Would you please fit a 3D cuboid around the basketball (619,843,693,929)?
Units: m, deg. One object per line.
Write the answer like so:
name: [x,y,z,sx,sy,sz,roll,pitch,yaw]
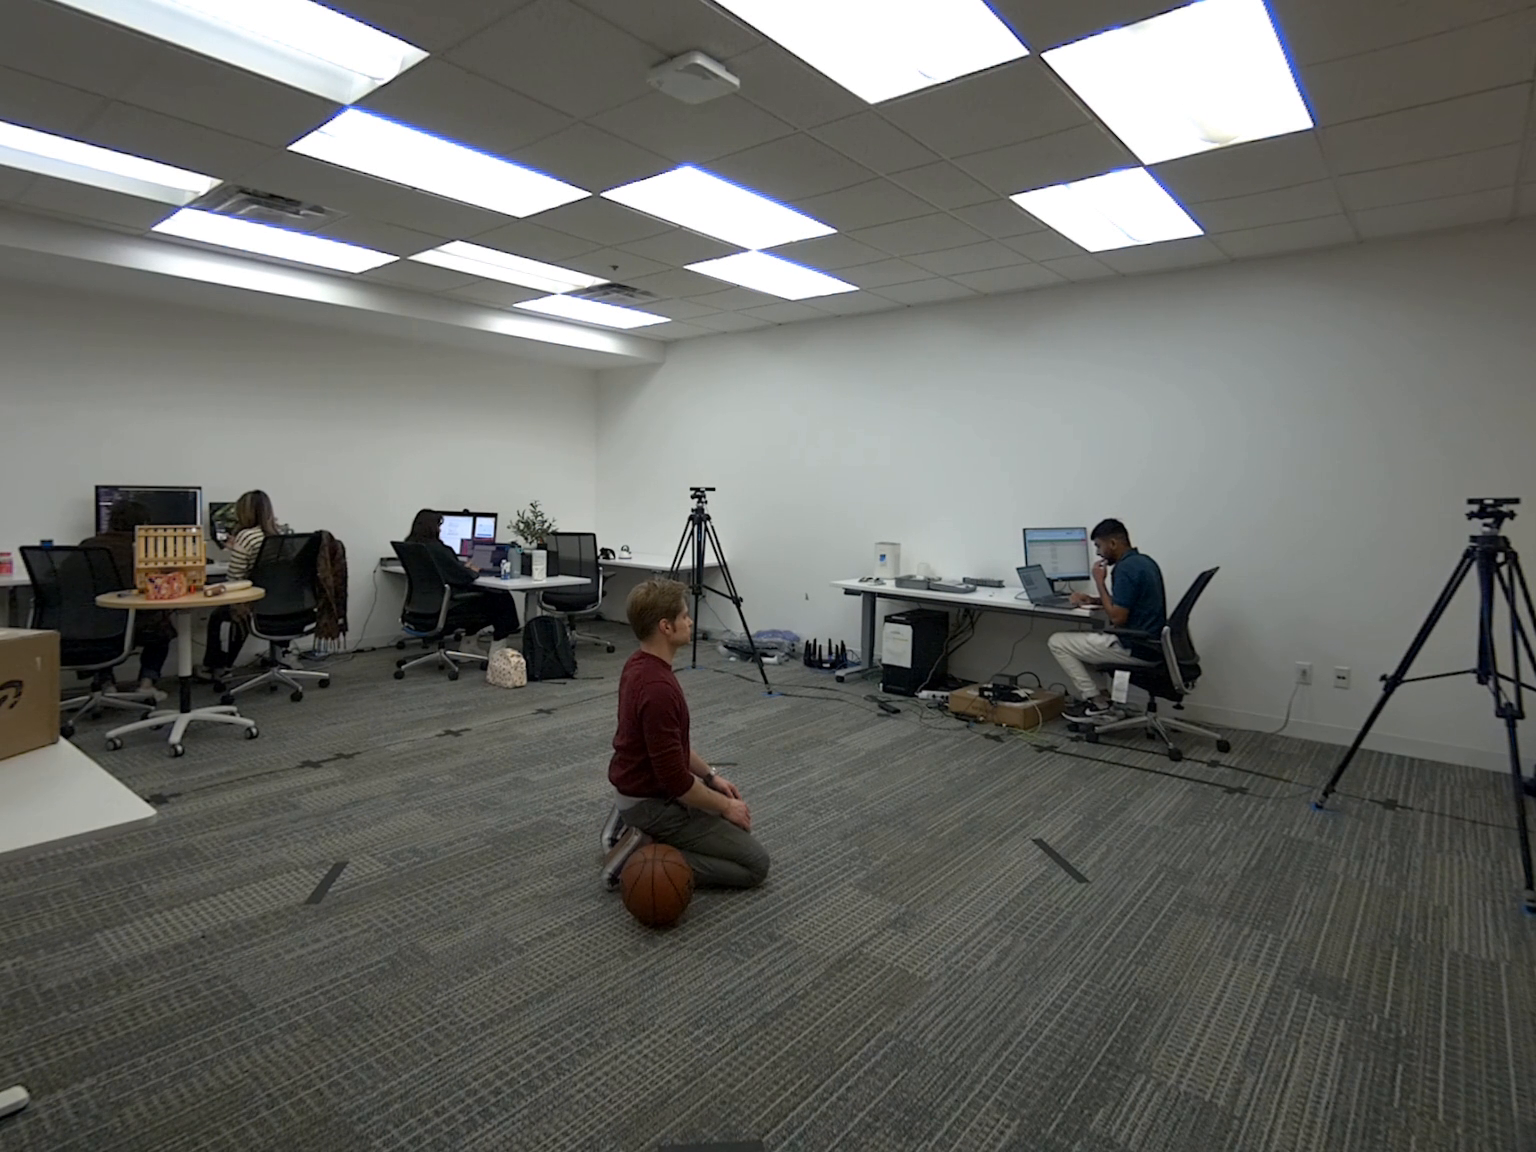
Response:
basketball: [-0.368,0.977,2.722,0.235,0.235,0.237,1,4,-2]
